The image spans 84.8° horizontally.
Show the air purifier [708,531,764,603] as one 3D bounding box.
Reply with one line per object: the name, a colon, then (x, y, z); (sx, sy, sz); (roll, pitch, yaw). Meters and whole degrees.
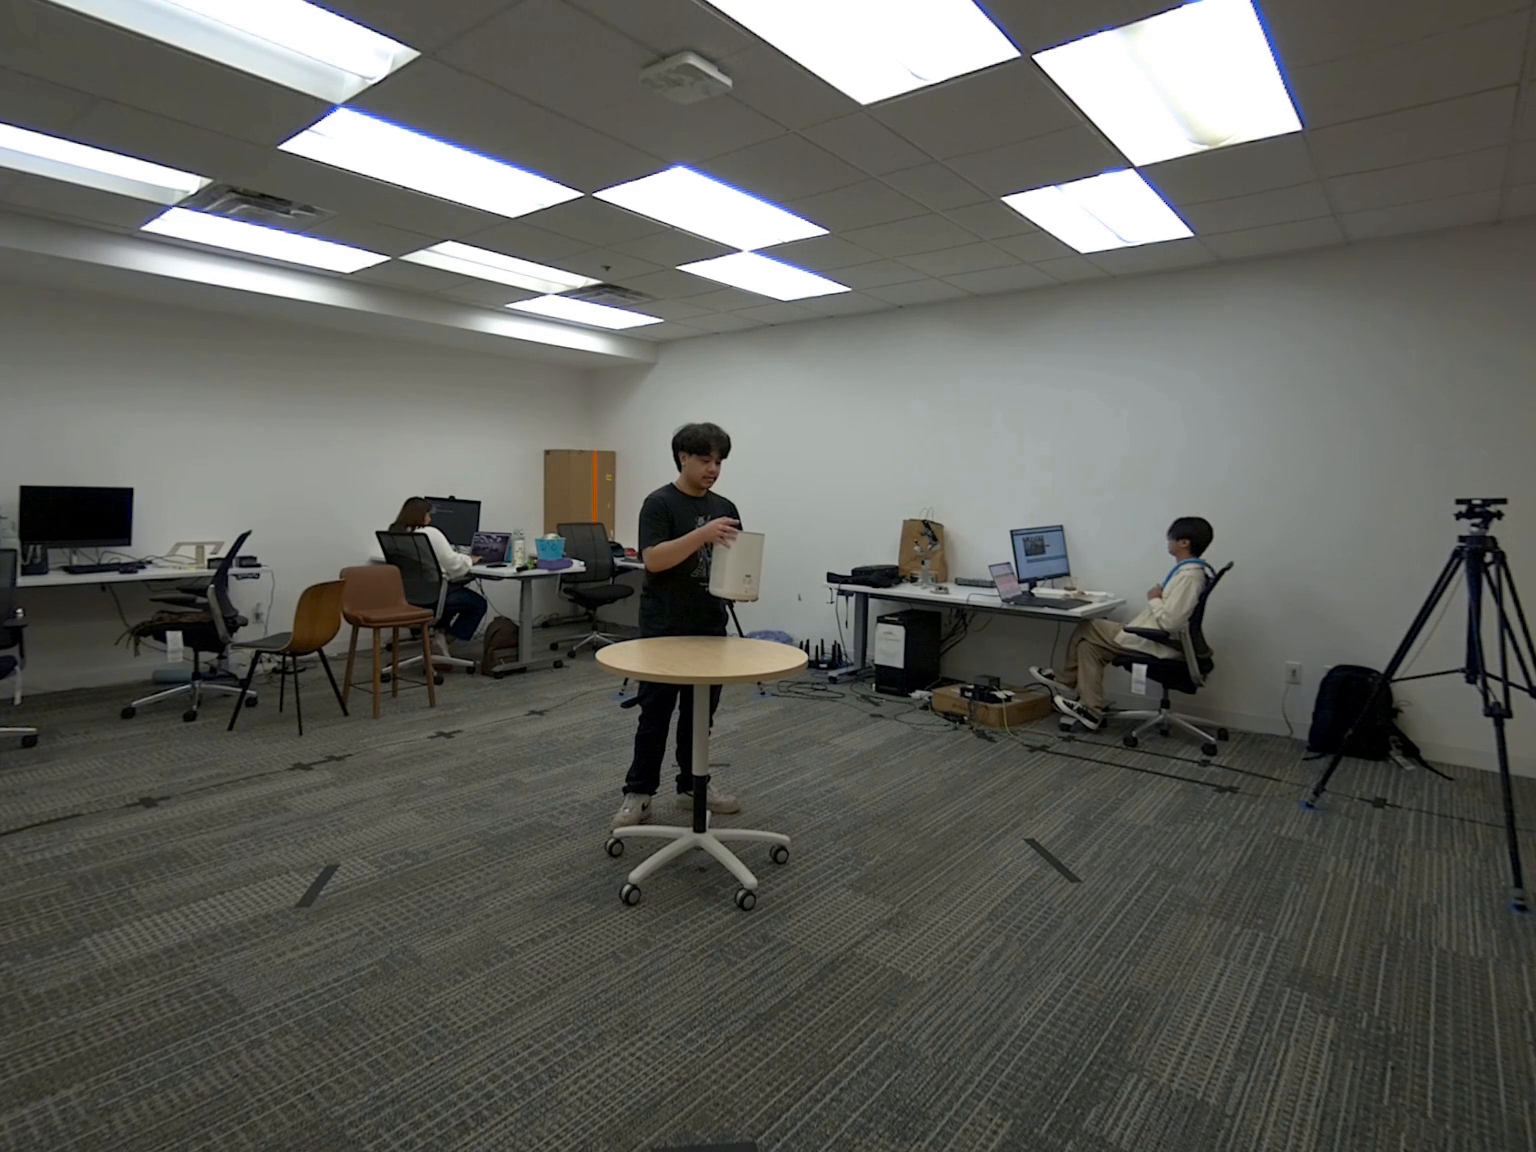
air purifier: (-0.138, -0.053, 3.365); (0.165, 0.265, 0.177); (6, 1, -38)
